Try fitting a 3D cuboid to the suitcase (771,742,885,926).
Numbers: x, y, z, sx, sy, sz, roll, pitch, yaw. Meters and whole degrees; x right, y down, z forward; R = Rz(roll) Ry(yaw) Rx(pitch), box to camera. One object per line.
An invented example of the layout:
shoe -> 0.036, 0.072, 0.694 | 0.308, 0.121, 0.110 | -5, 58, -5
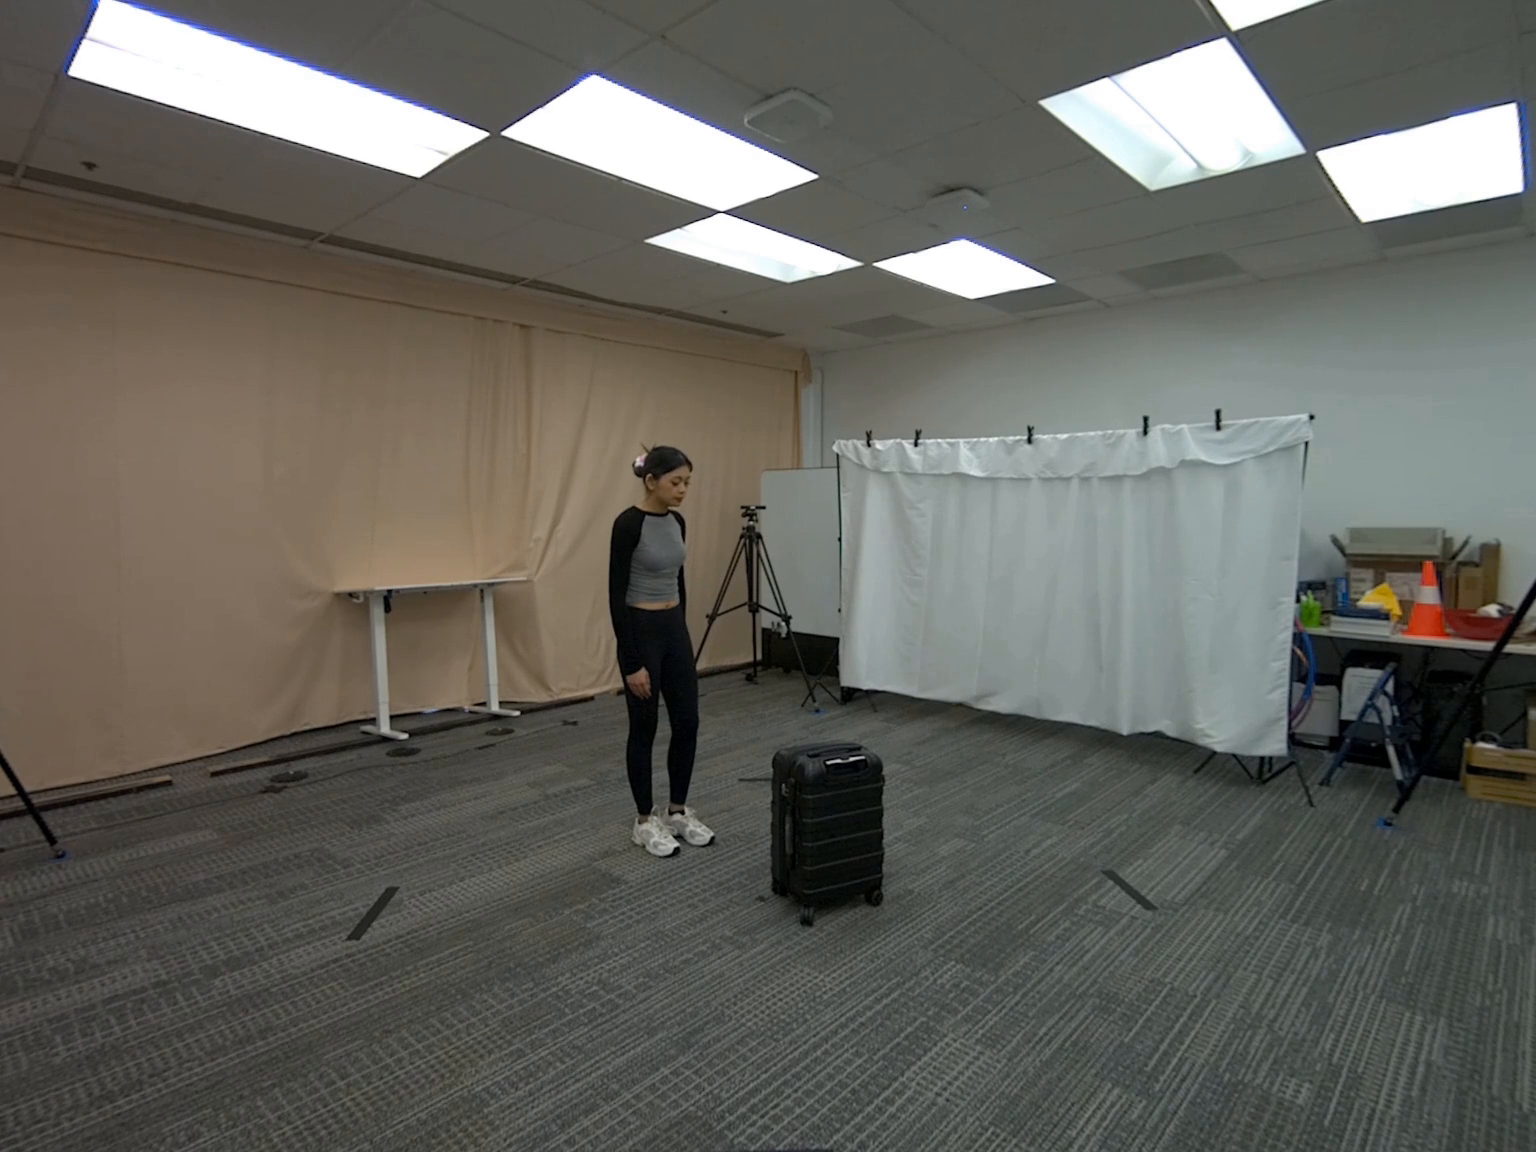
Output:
suitcase -> 0.207, 0.865, 2.965 | 0.366, 0.548, 0.255 | -3, 3, -27
